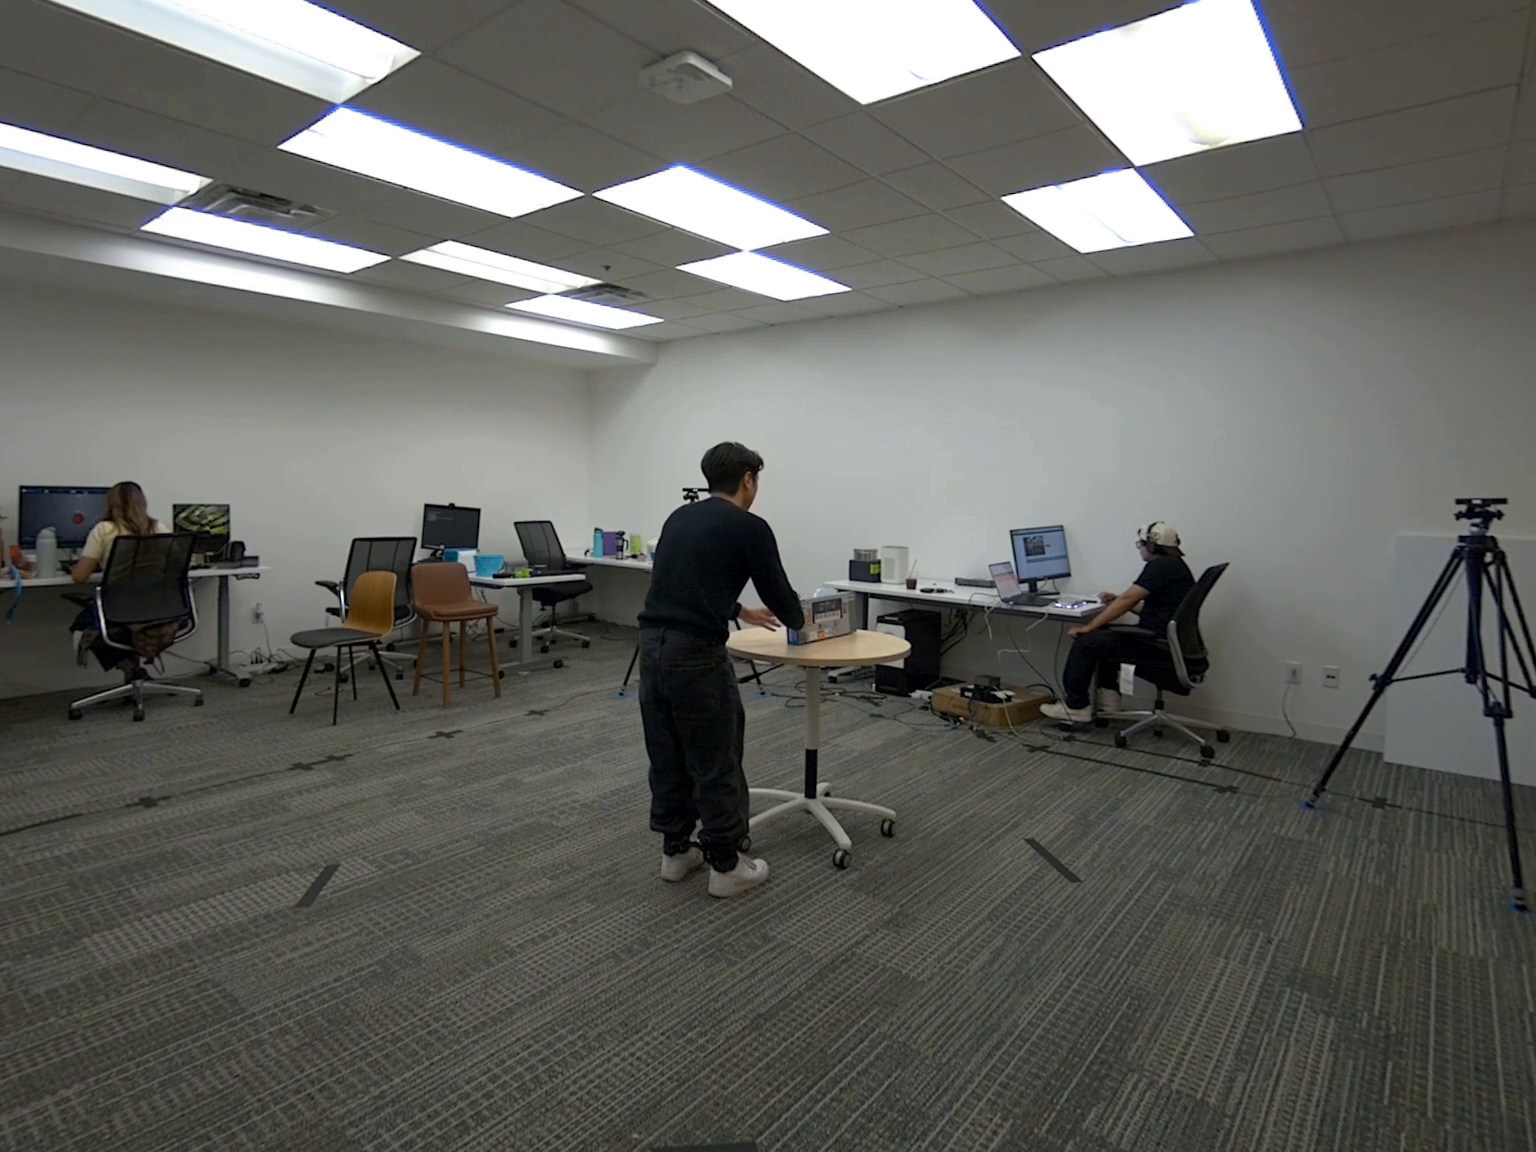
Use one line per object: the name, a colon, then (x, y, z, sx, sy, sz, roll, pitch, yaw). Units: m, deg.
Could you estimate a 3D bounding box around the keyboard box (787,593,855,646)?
keyboard box: (0.220, 0.169, 3.523, 0.061, 0.176, 0.424, -2, 2, 39)
